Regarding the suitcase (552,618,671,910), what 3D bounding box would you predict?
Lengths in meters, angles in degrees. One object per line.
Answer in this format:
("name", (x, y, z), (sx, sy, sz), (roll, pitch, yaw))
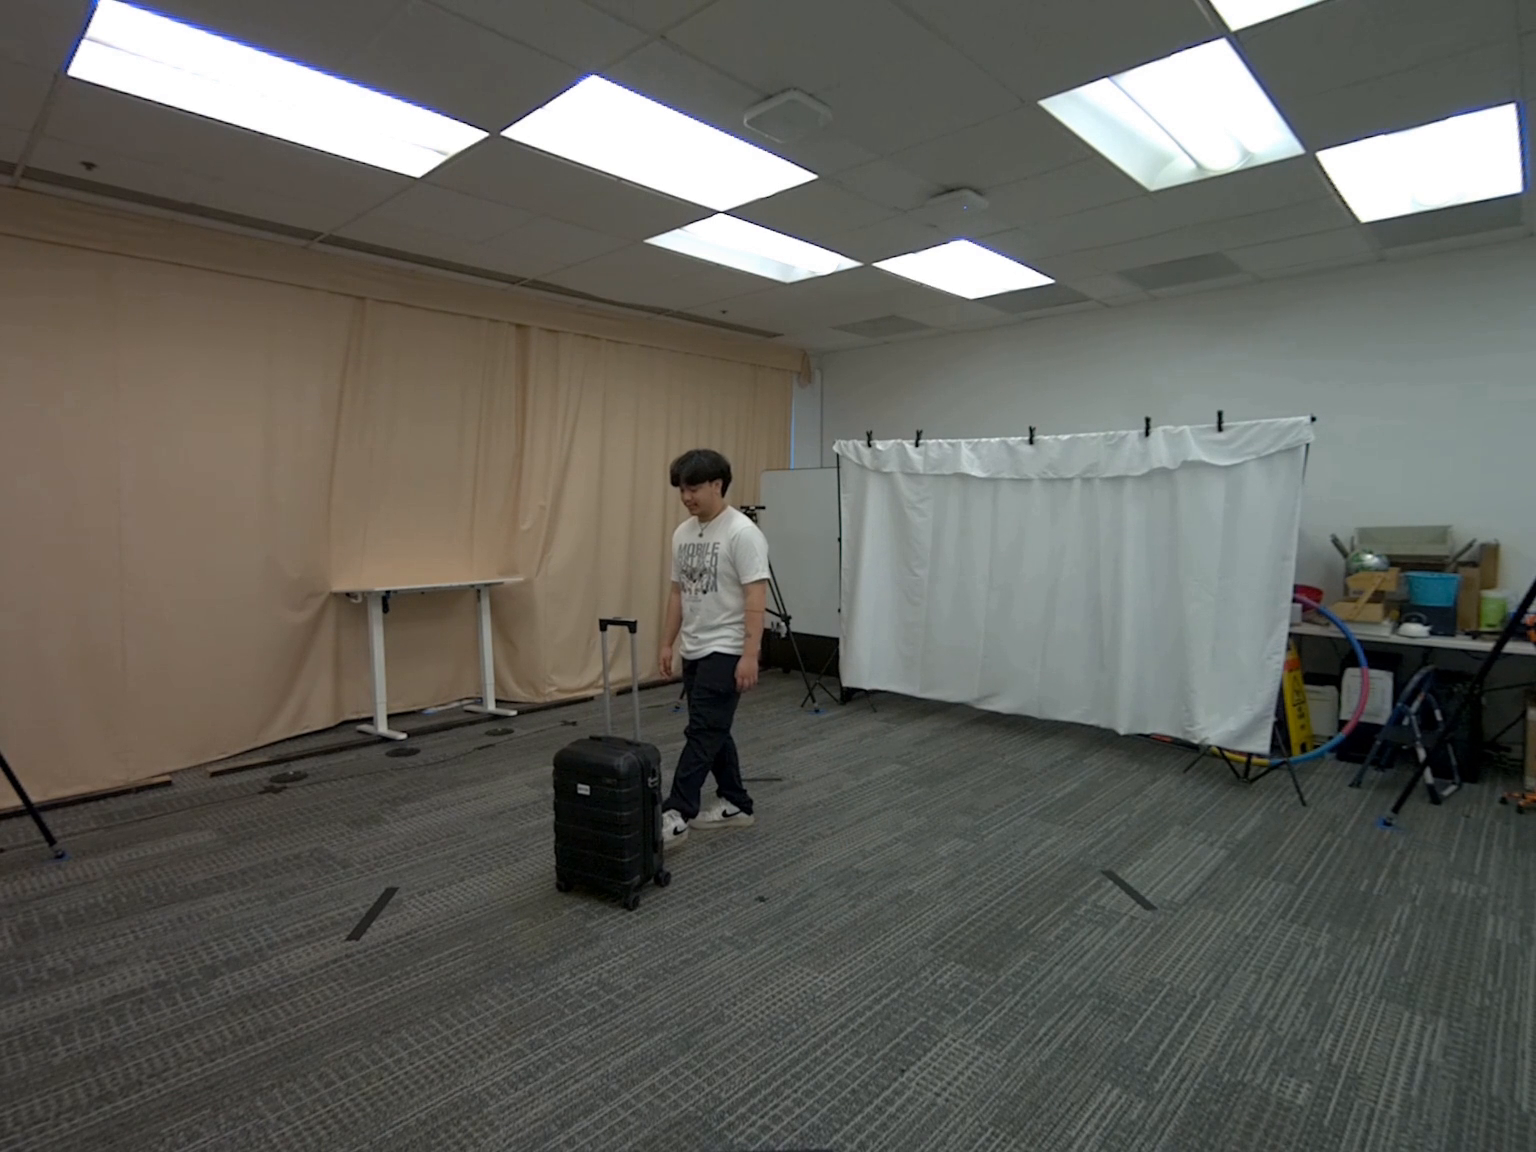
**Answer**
("suitcase", (-0.581, 0.668, 3.032), (0.394, 0.975, 0.251), (2, 6, 26))
